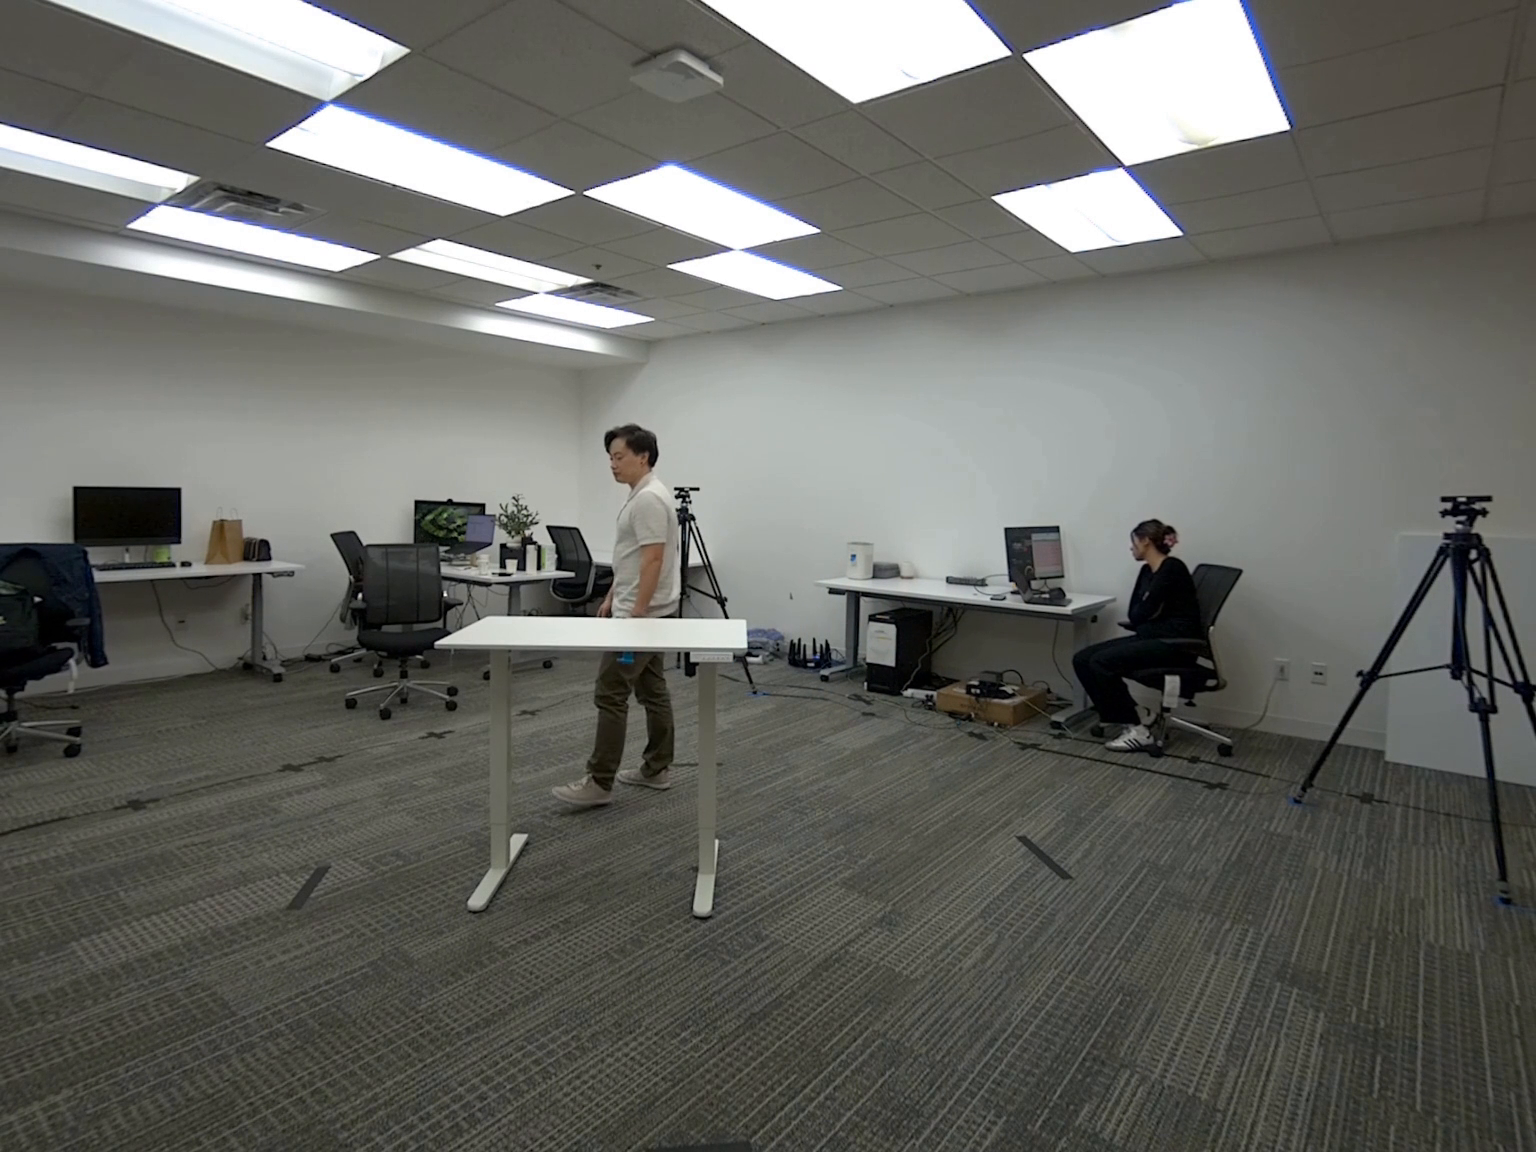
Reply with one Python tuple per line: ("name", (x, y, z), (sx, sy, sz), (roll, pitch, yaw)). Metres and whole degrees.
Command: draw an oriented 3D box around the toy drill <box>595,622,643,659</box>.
("toy drill", (-0.645, 0.294, 3.638), (0.172, 0.145, 0.060), (12, 4, 11))
